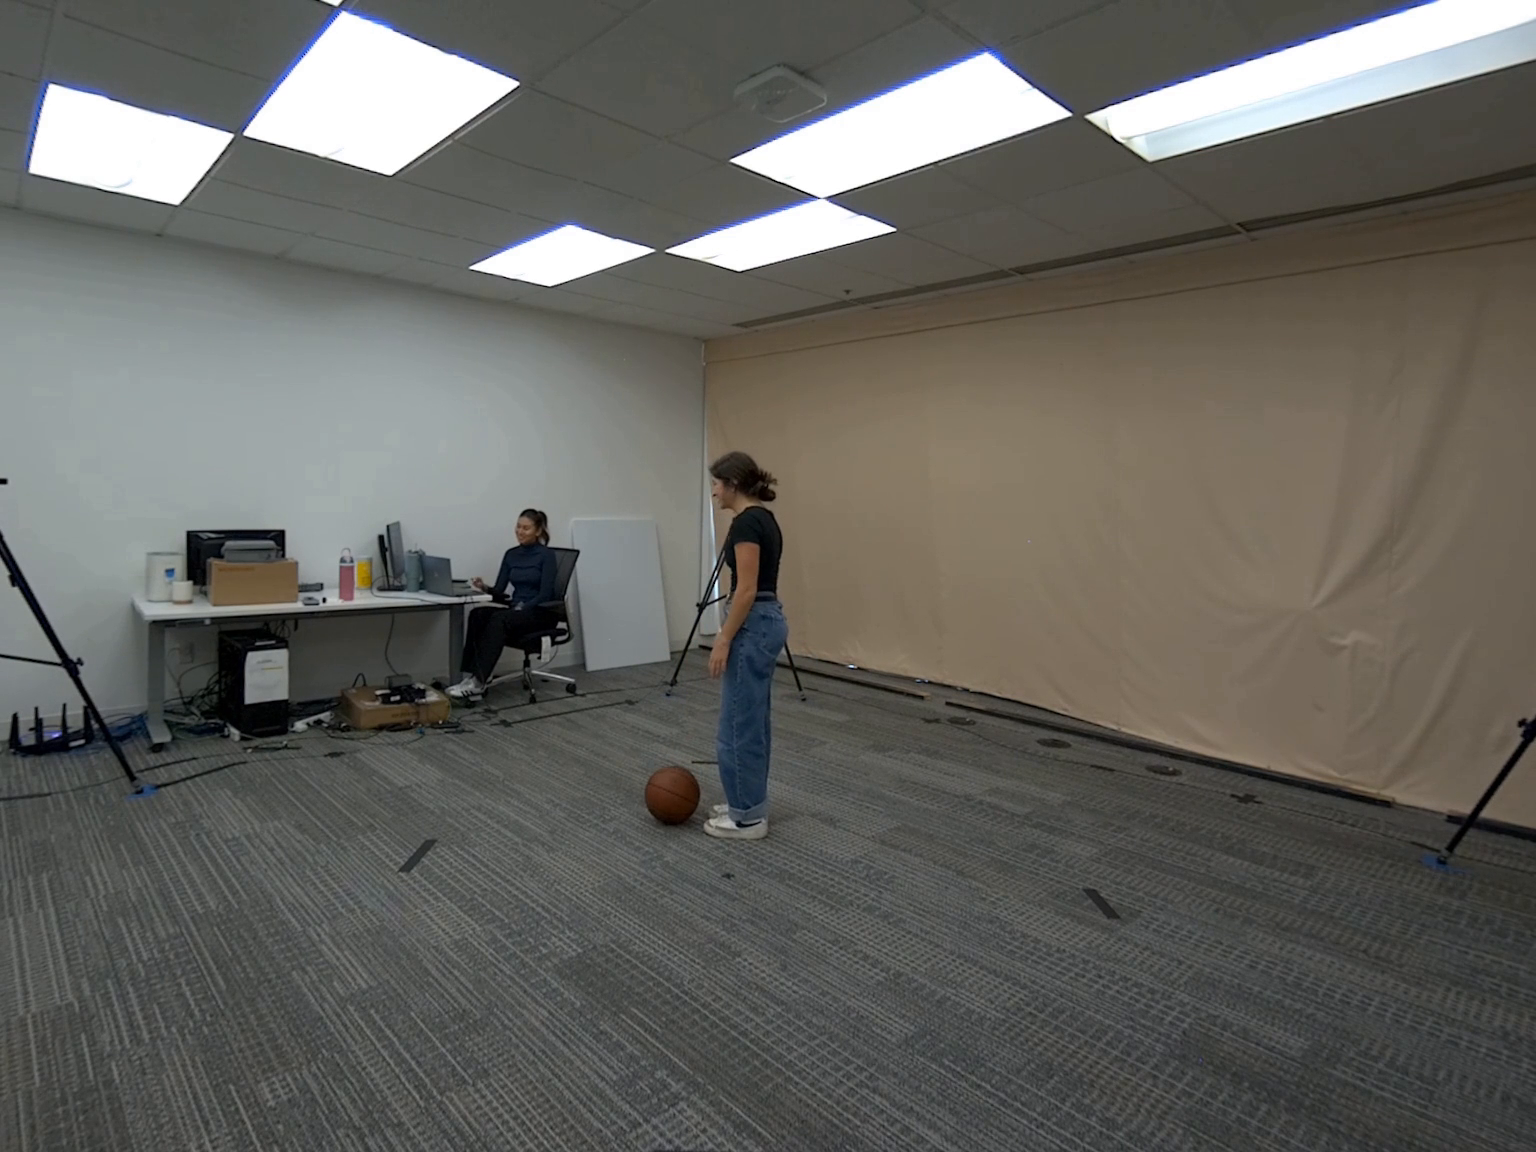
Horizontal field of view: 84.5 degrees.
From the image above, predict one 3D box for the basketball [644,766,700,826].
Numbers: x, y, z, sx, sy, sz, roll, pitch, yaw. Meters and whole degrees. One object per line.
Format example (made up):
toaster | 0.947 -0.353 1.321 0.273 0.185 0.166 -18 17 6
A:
basketball | -0.412 0.929 3.611 0.236 0.235 0.237 1 4 -1
